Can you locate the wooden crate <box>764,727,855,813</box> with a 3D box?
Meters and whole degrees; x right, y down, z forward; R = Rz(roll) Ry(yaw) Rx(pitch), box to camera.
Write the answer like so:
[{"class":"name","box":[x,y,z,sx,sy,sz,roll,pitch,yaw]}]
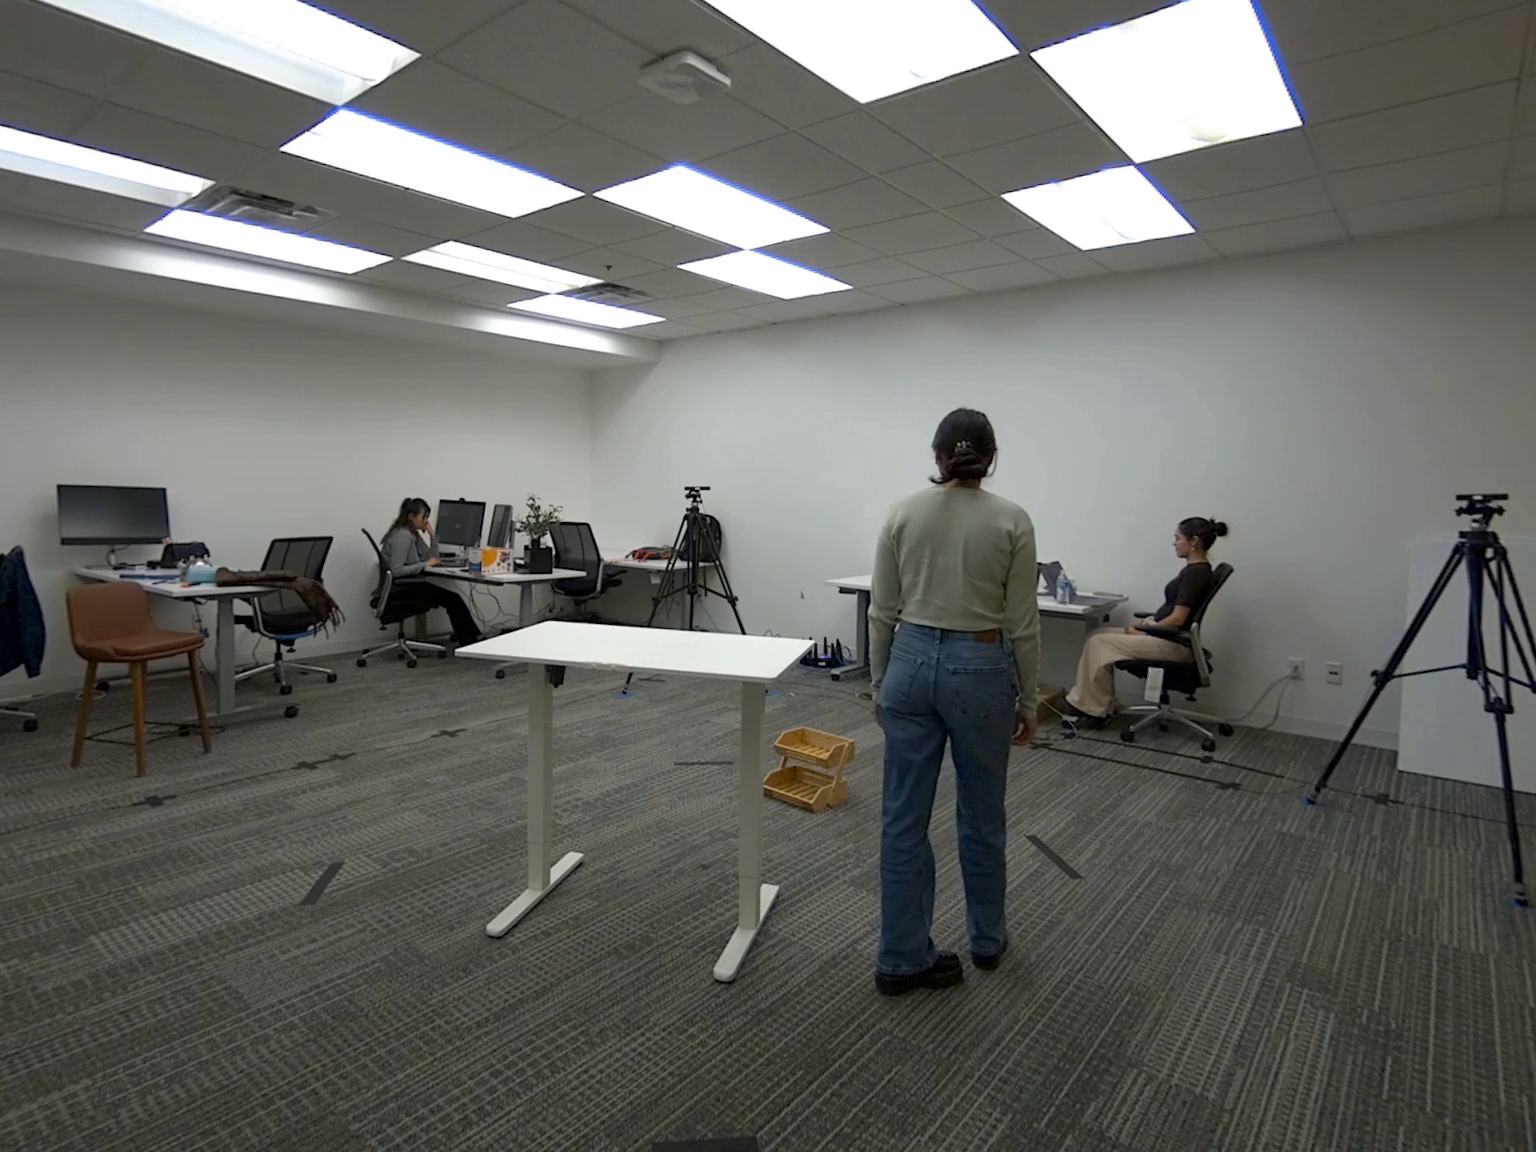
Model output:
[{"class":"wooden crate","box":[0.169,0.861,3.856,0.335,0.272,0.293,5,6,42]}]
